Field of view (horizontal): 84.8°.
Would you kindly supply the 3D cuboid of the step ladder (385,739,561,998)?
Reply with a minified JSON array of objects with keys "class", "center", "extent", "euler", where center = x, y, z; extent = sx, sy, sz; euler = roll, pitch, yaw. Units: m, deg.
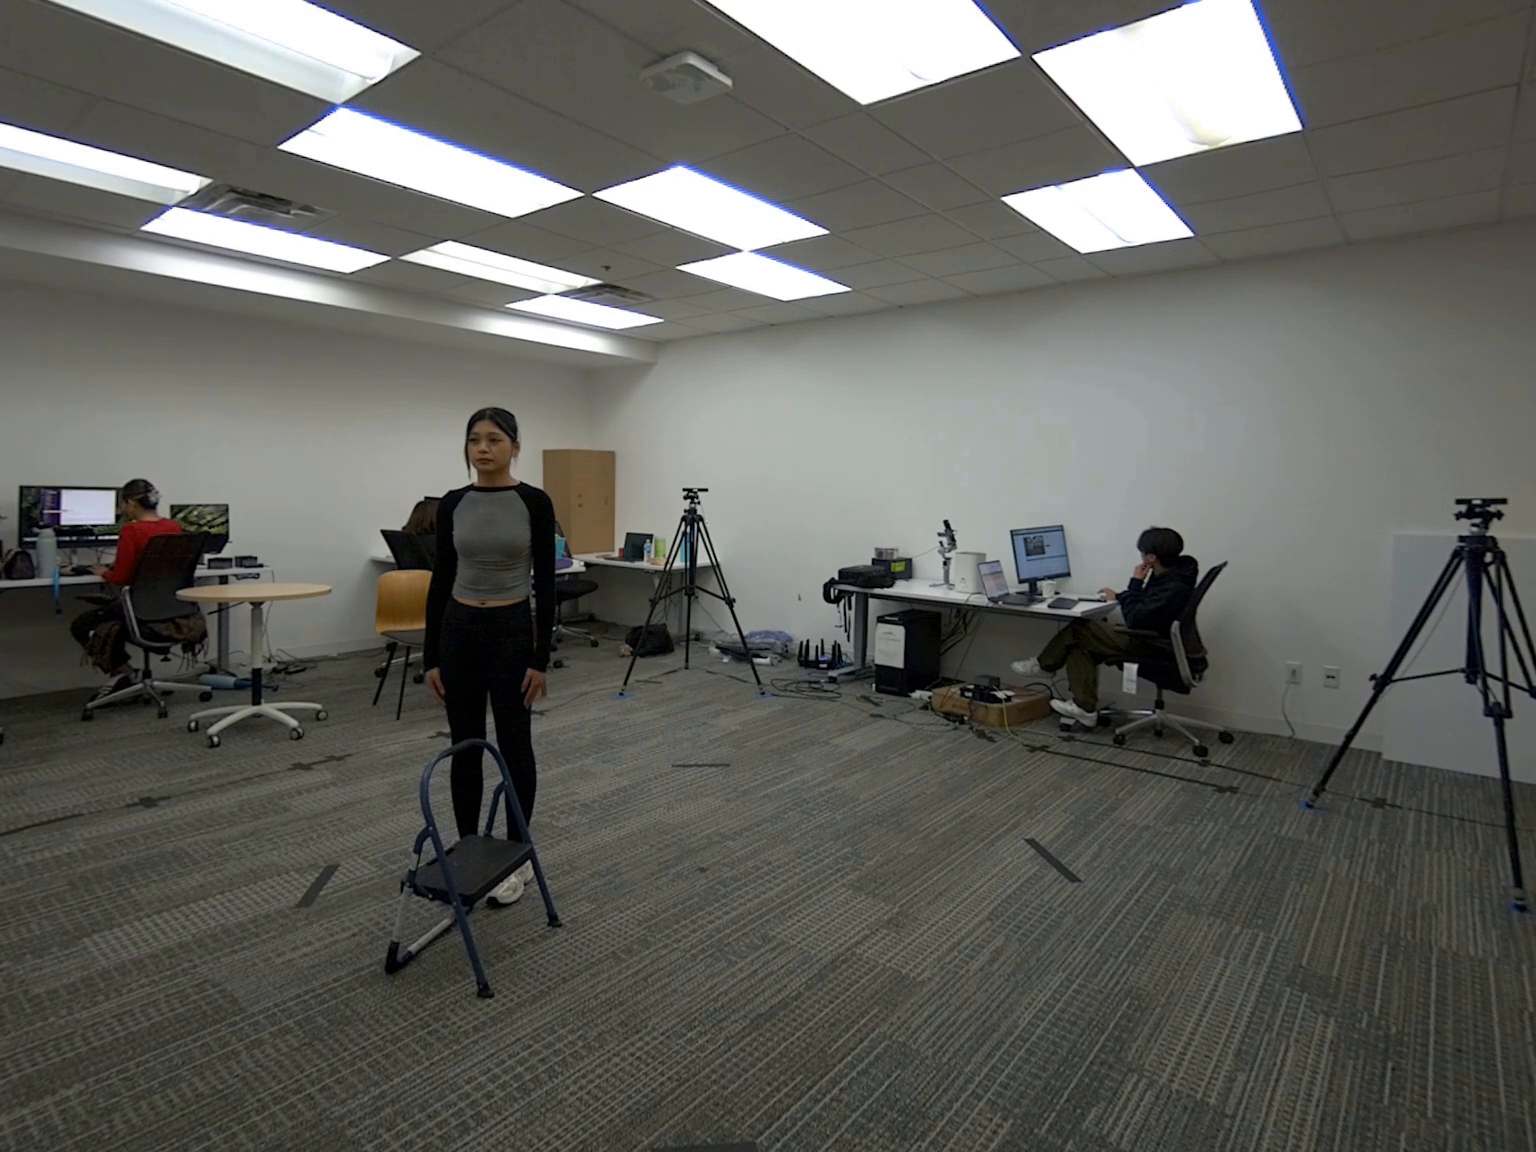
[{"class":"step ladder","center":[-0.877,0.816,2.539],"extent":[0.356,0.605,0.424],"euler":[2,3,16]}]
